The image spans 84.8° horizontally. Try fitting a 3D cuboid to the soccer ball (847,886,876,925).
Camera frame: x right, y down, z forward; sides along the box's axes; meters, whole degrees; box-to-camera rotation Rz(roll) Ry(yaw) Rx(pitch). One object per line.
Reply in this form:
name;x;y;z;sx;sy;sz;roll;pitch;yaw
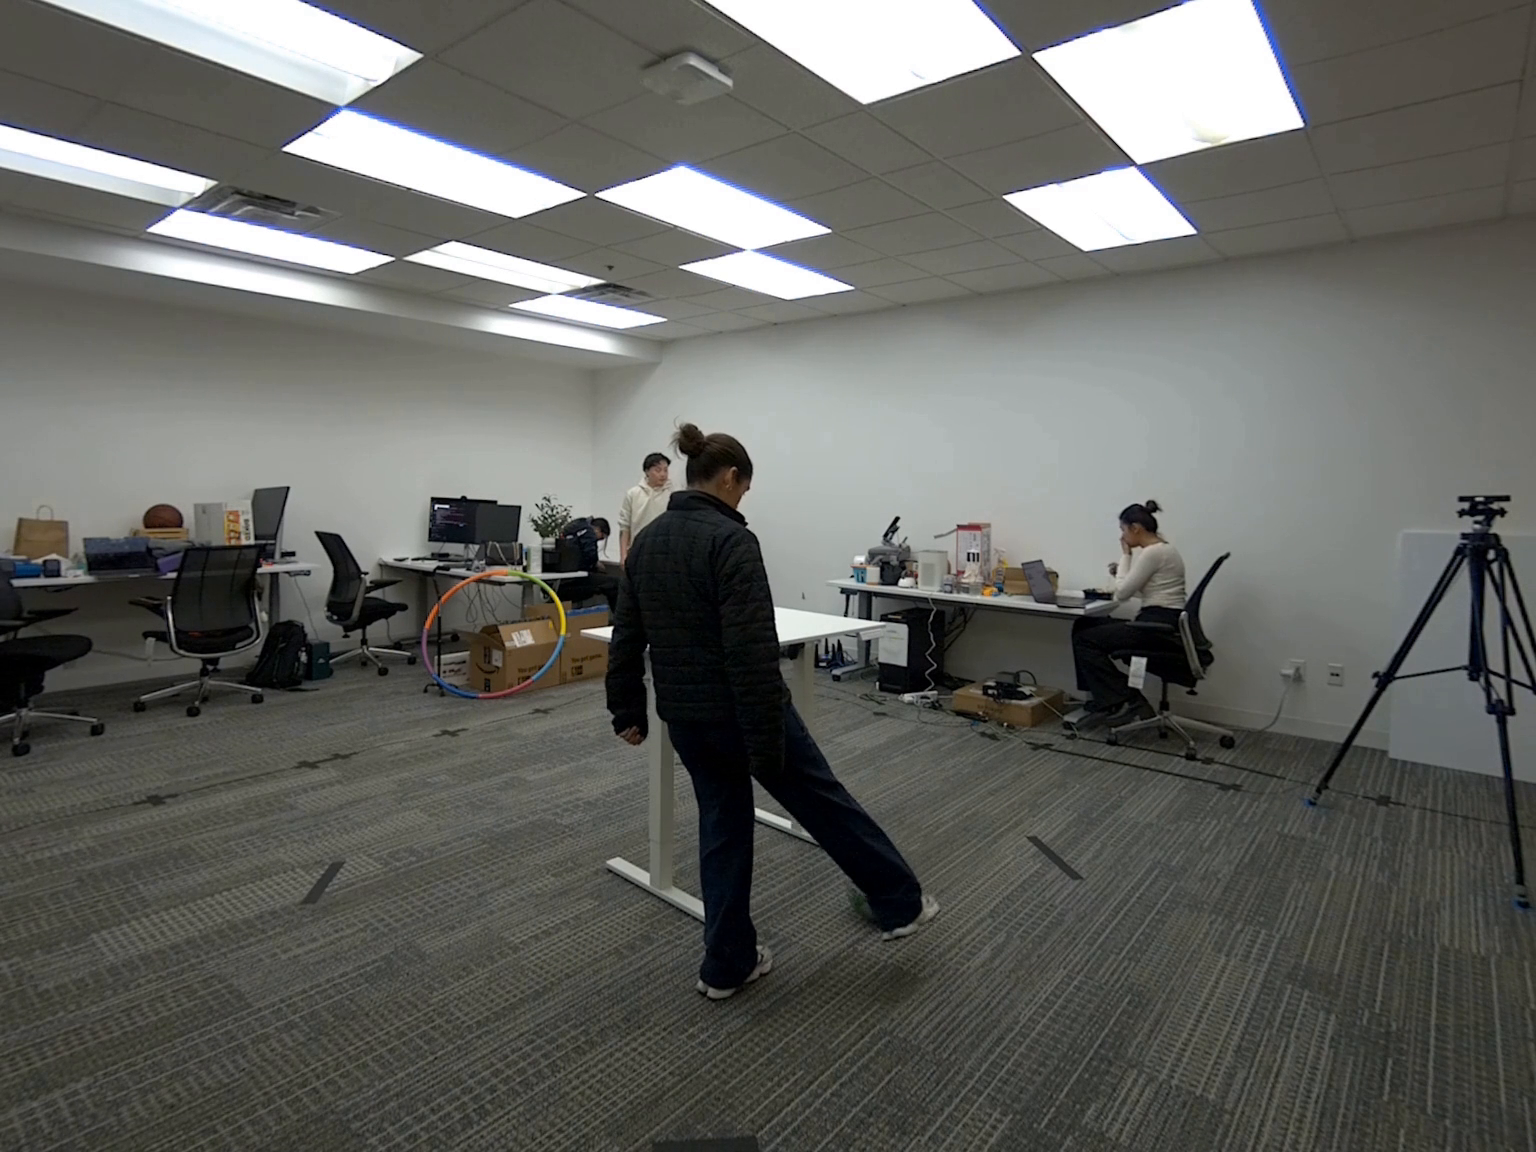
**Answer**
soccer ball;0.343;1.015;2.770;0.187;0.187;0.188;1;4;-2
